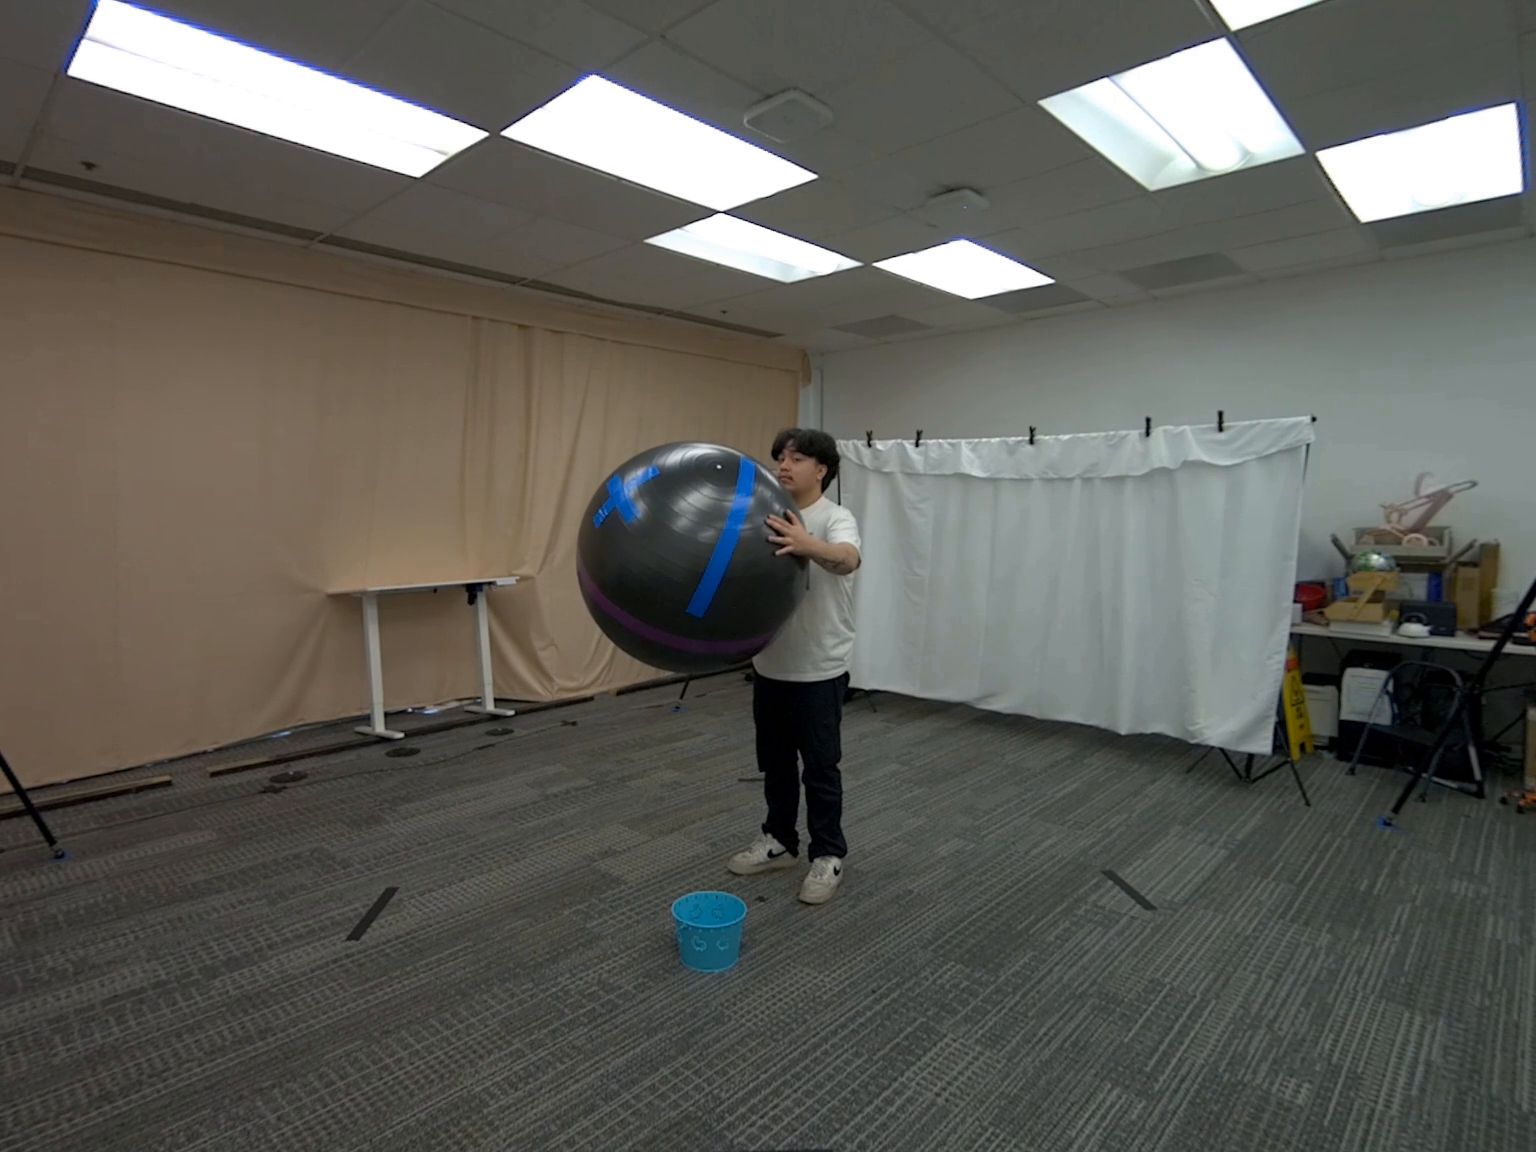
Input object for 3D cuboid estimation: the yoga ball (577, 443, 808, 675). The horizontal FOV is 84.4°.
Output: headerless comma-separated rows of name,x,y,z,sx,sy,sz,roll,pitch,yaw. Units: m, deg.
yoga ball,-0.255,-0.051,2.748,0.757,0.756,0.760,0,4,-2
